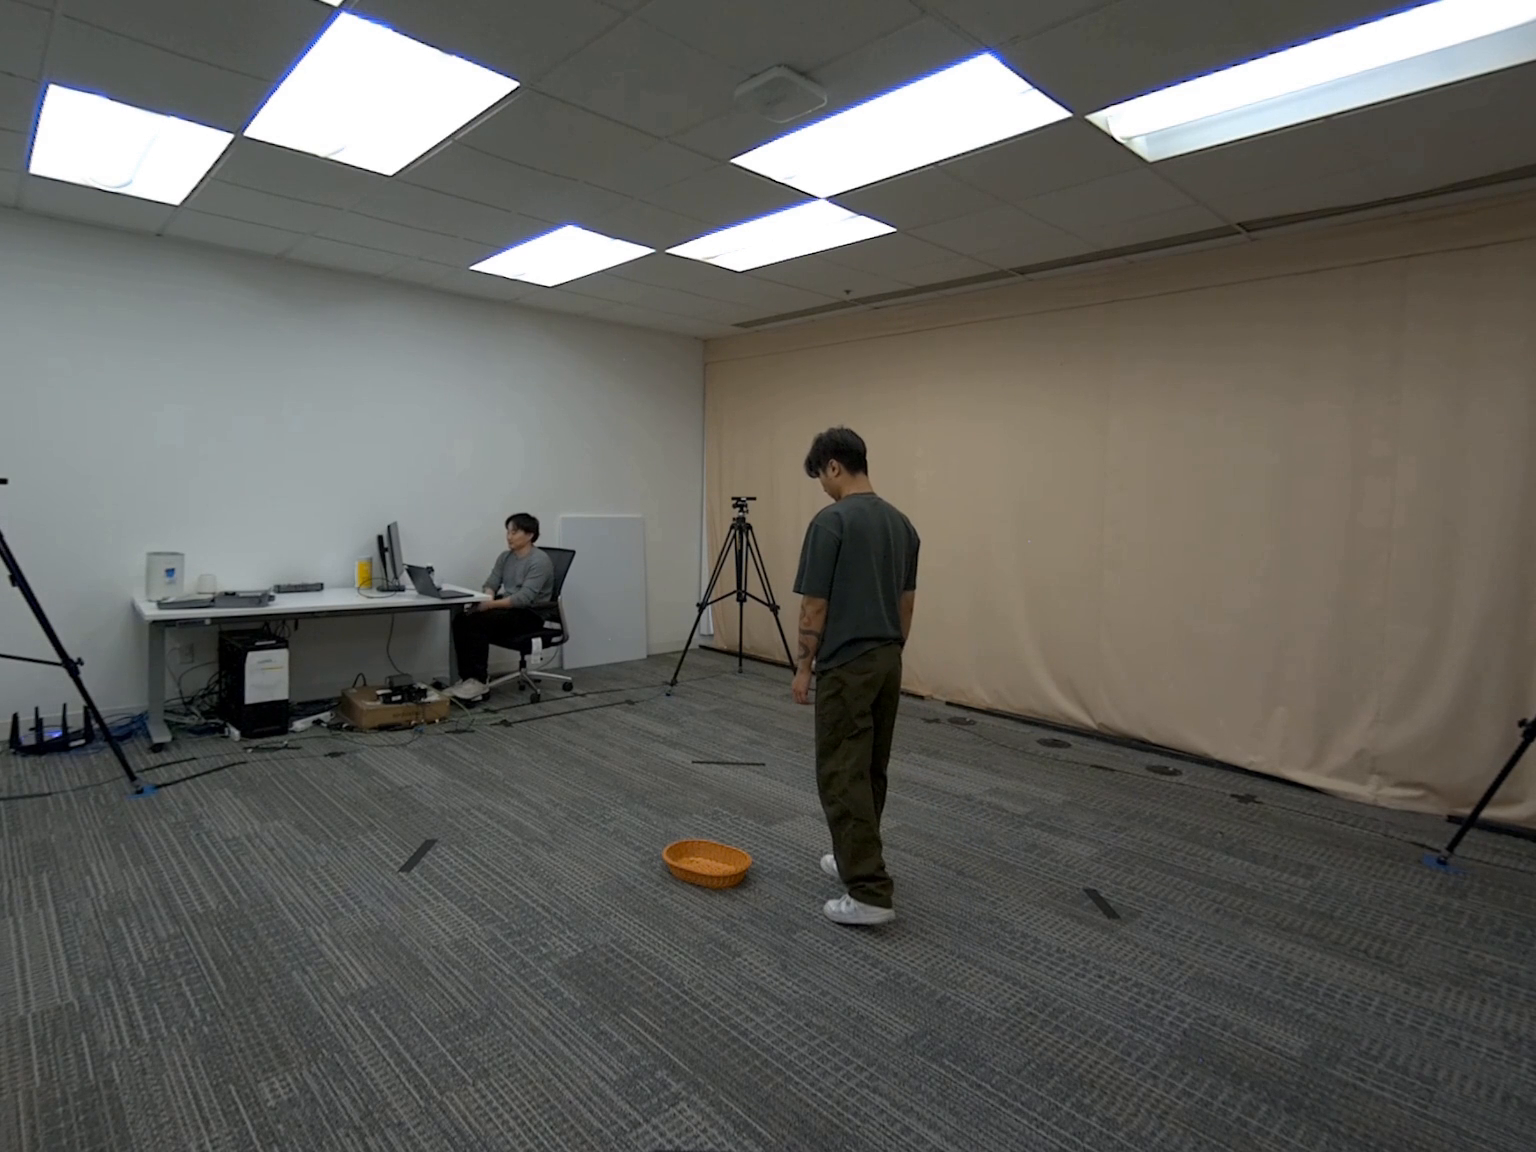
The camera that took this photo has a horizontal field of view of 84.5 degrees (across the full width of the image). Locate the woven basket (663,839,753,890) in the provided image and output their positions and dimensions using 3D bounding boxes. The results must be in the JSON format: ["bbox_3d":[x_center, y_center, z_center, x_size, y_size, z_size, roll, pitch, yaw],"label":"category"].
[{"bbox_3d":[-0.233,1.058,3.107,0.358,0.073,0.247,4,6,31],"label":"woven basket"}]
